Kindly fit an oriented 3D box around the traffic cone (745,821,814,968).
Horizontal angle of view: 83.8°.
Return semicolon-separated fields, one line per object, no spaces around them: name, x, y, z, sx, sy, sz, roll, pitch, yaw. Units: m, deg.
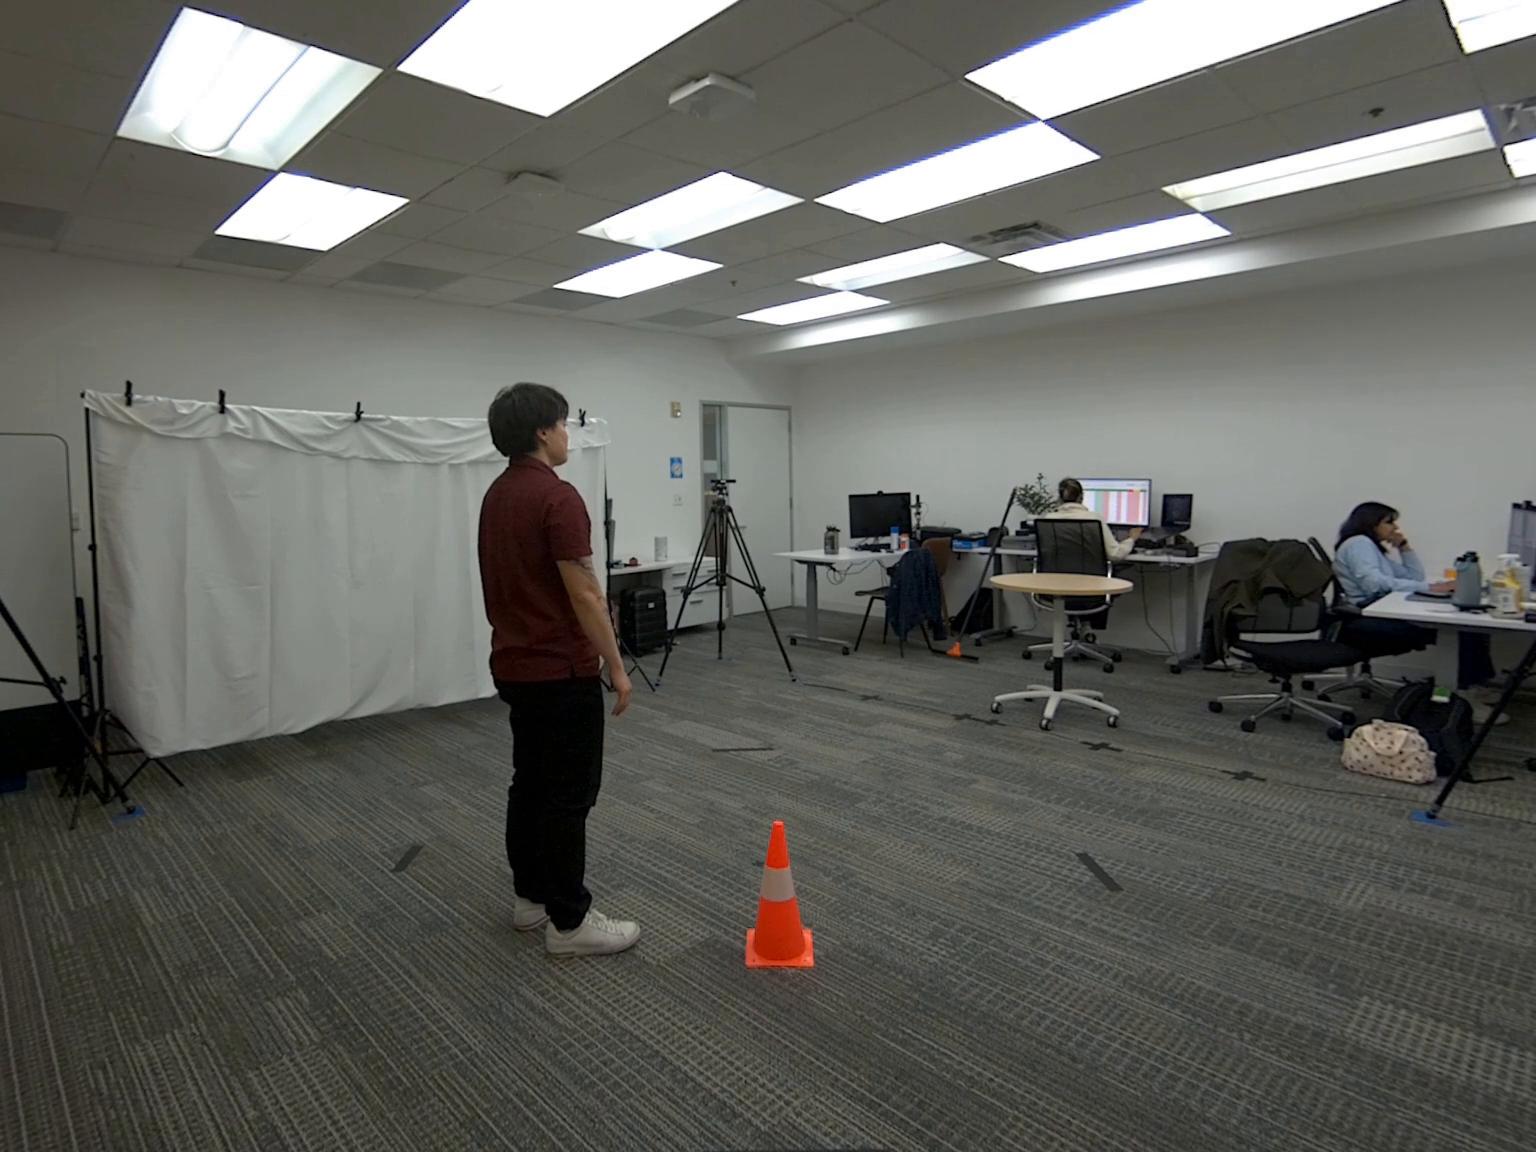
traffic cone;0.030;0.923;2.529;0.204;0.382;0.205;-1;6;4
